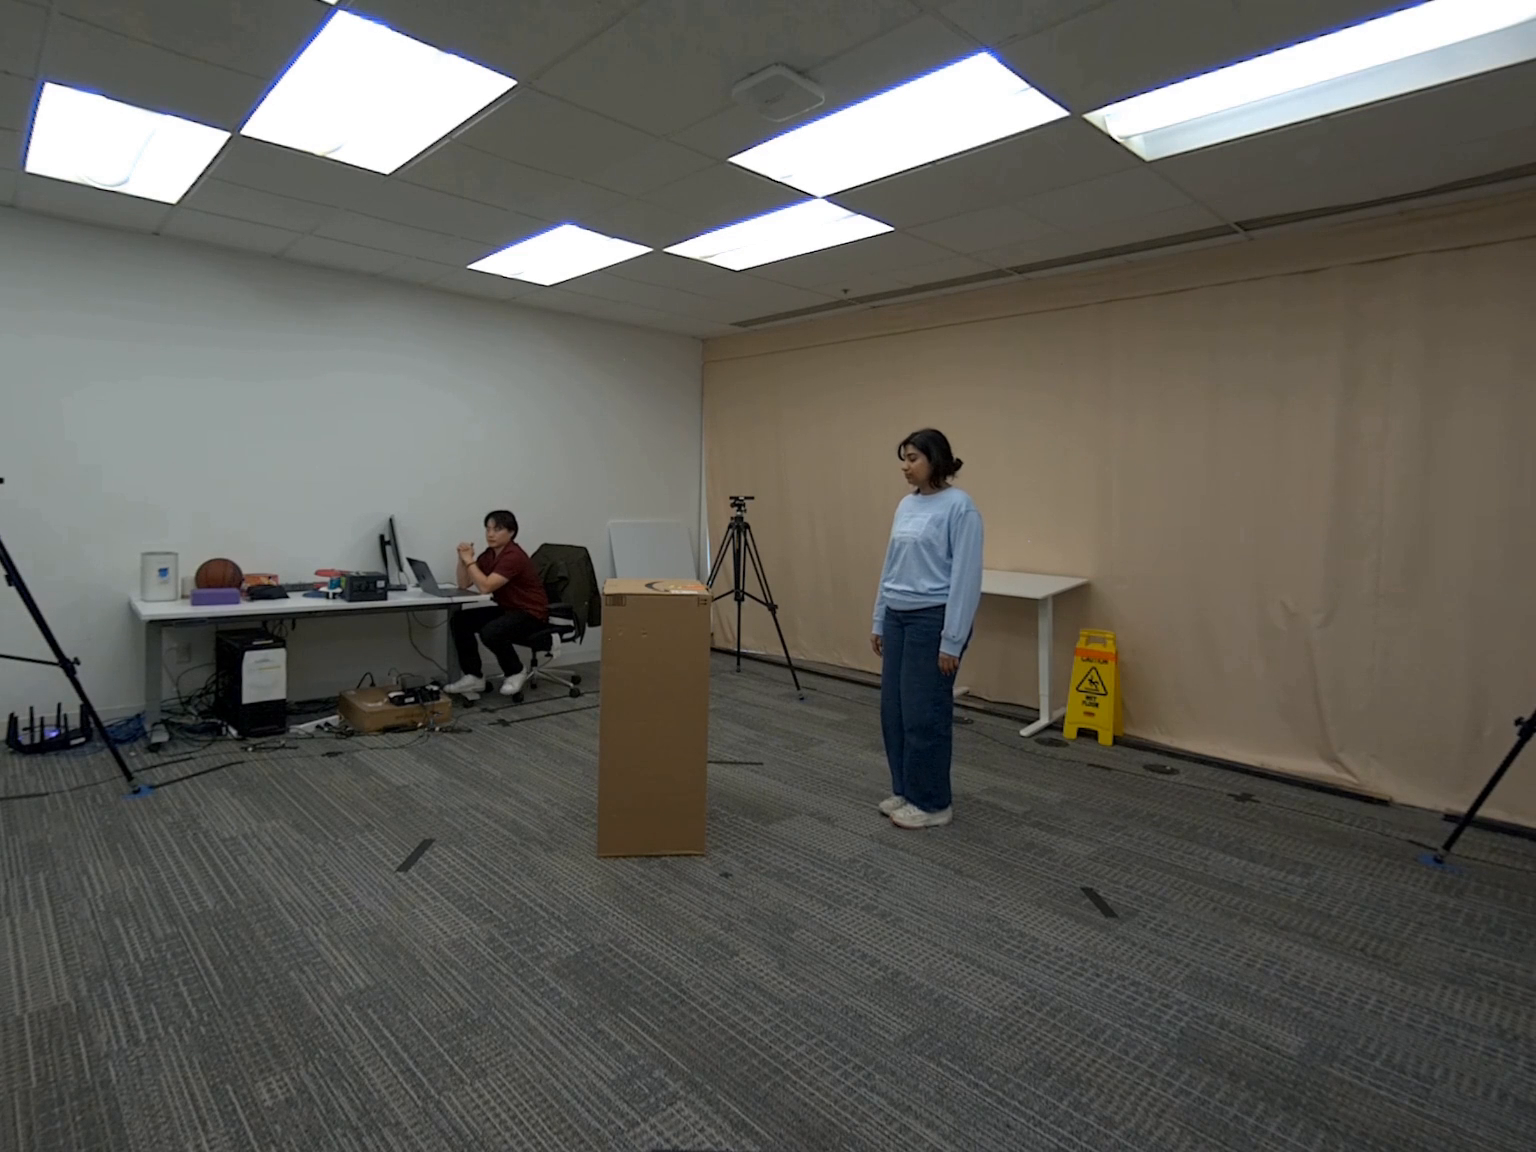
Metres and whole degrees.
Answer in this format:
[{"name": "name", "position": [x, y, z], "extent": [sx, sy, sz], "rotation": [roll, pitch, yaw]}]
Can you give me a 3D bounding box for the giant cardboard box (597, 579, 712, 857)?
[{"name": "giant cardboard box", "position": [-0.489, 0.552, 3.508], "extent": [0.444, 1.025, 0.589], "rotation": [2, 3, -8]}]
